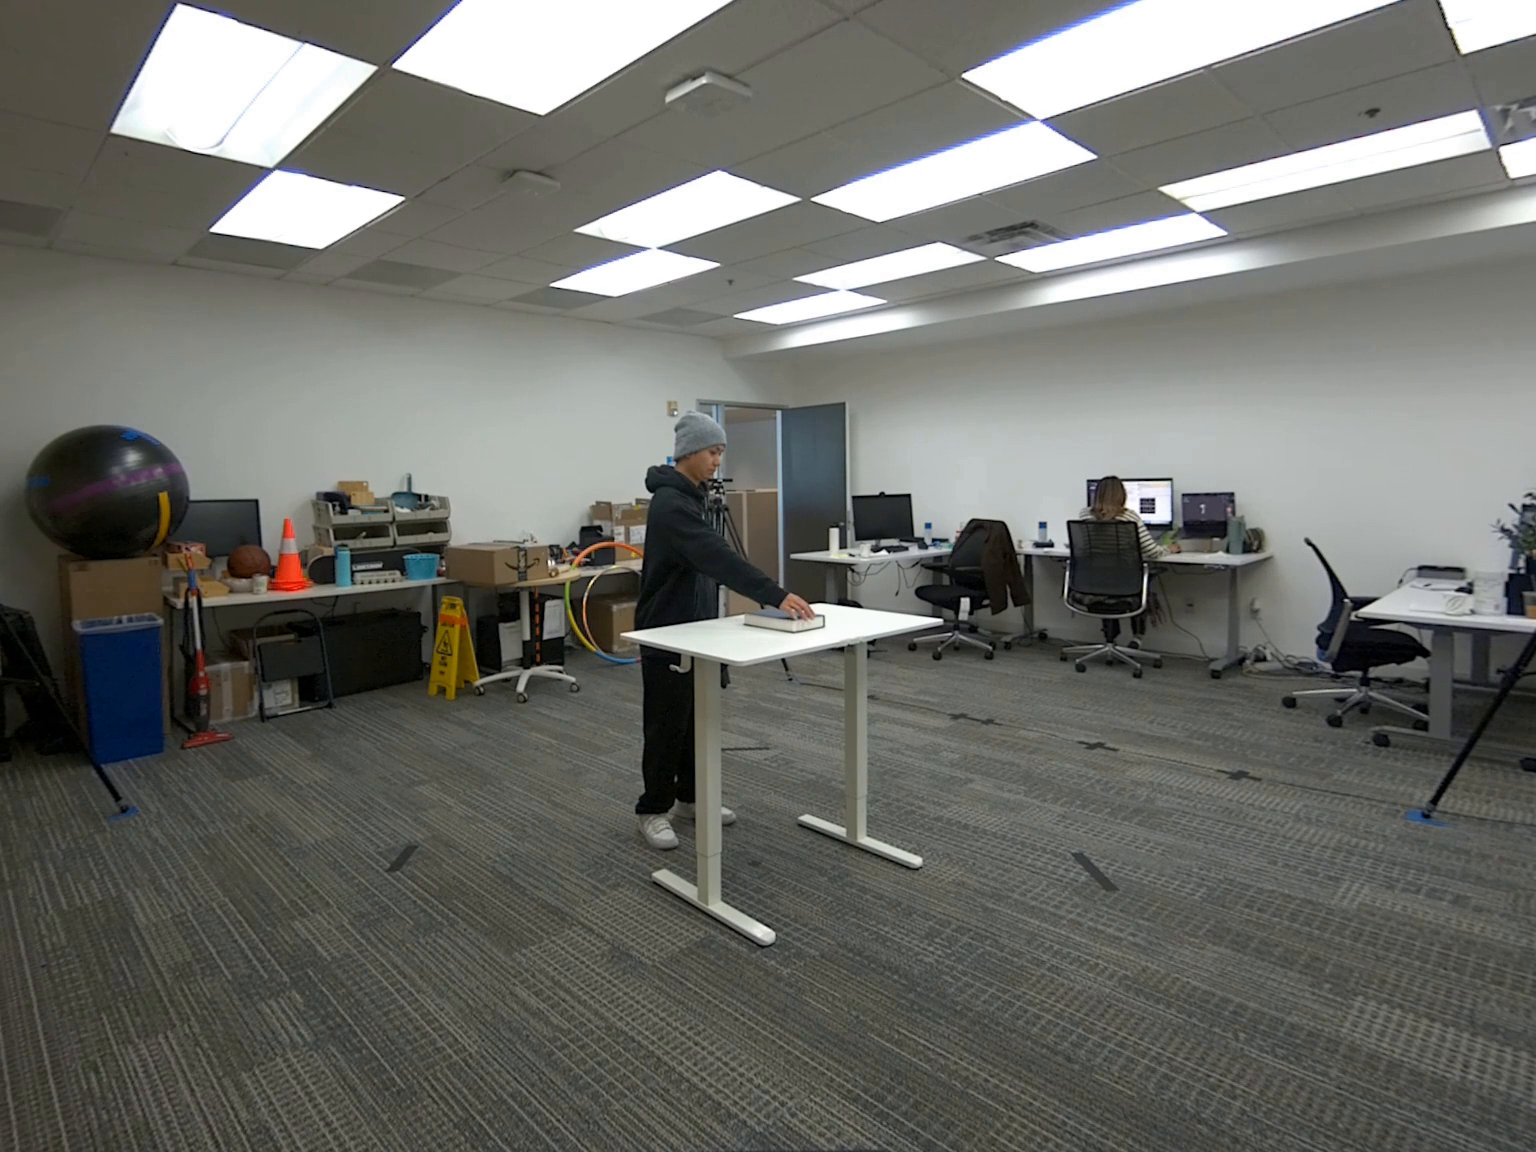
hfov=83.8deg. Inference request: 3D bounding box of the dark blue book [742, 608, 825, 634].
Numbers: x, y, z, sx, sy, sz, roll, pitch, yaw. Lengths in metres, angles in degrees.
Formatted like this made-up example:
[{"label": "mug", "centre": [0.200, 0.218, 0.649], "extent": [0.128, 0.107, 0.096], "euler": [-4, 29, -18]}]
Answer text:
[{"label": "dark blue book", "centre": [0.064, 0.156, 2.984], "extent": [0.159, 0.045, 0.253], "euler": [-6, 9, -43]}]
